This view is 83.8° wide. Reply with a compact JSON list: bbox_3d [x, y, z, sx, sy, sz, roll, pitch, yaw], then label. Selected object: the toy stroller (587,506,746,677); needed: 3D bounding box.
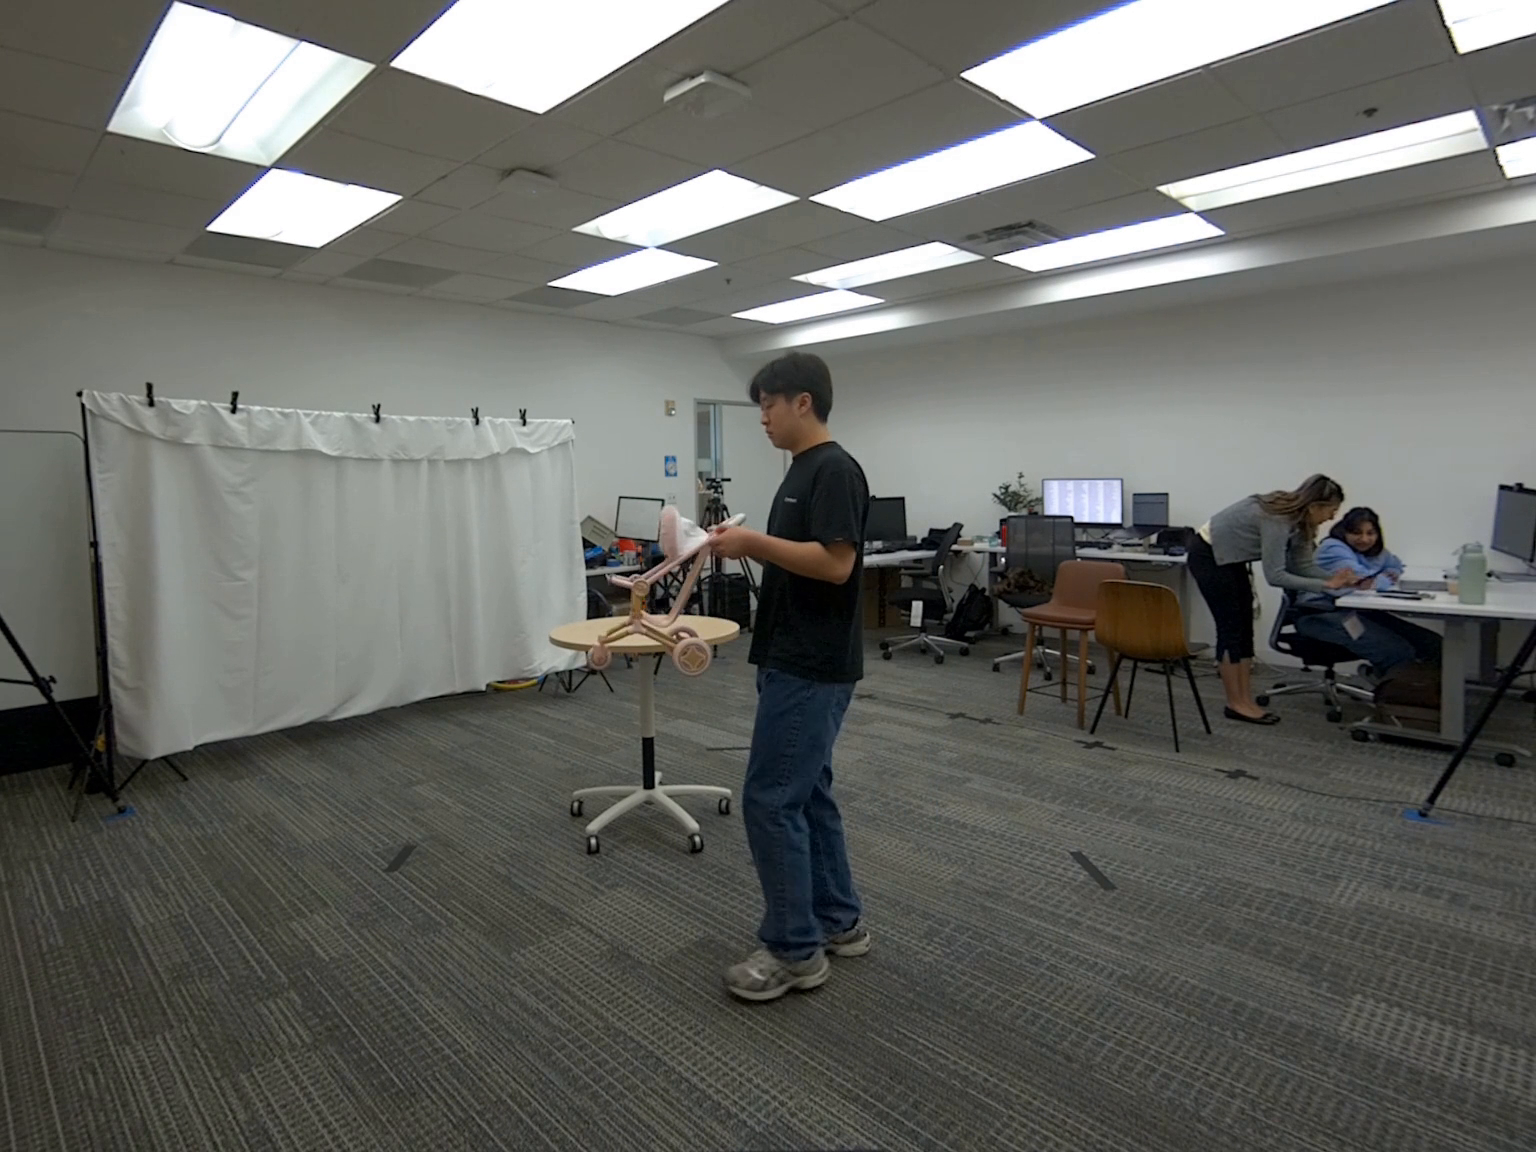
[{"bbox_3d":[-0.294,0.041,2.451,0.339,0.535,0.283,15,0,-5],"label":"toy stroller"}]
